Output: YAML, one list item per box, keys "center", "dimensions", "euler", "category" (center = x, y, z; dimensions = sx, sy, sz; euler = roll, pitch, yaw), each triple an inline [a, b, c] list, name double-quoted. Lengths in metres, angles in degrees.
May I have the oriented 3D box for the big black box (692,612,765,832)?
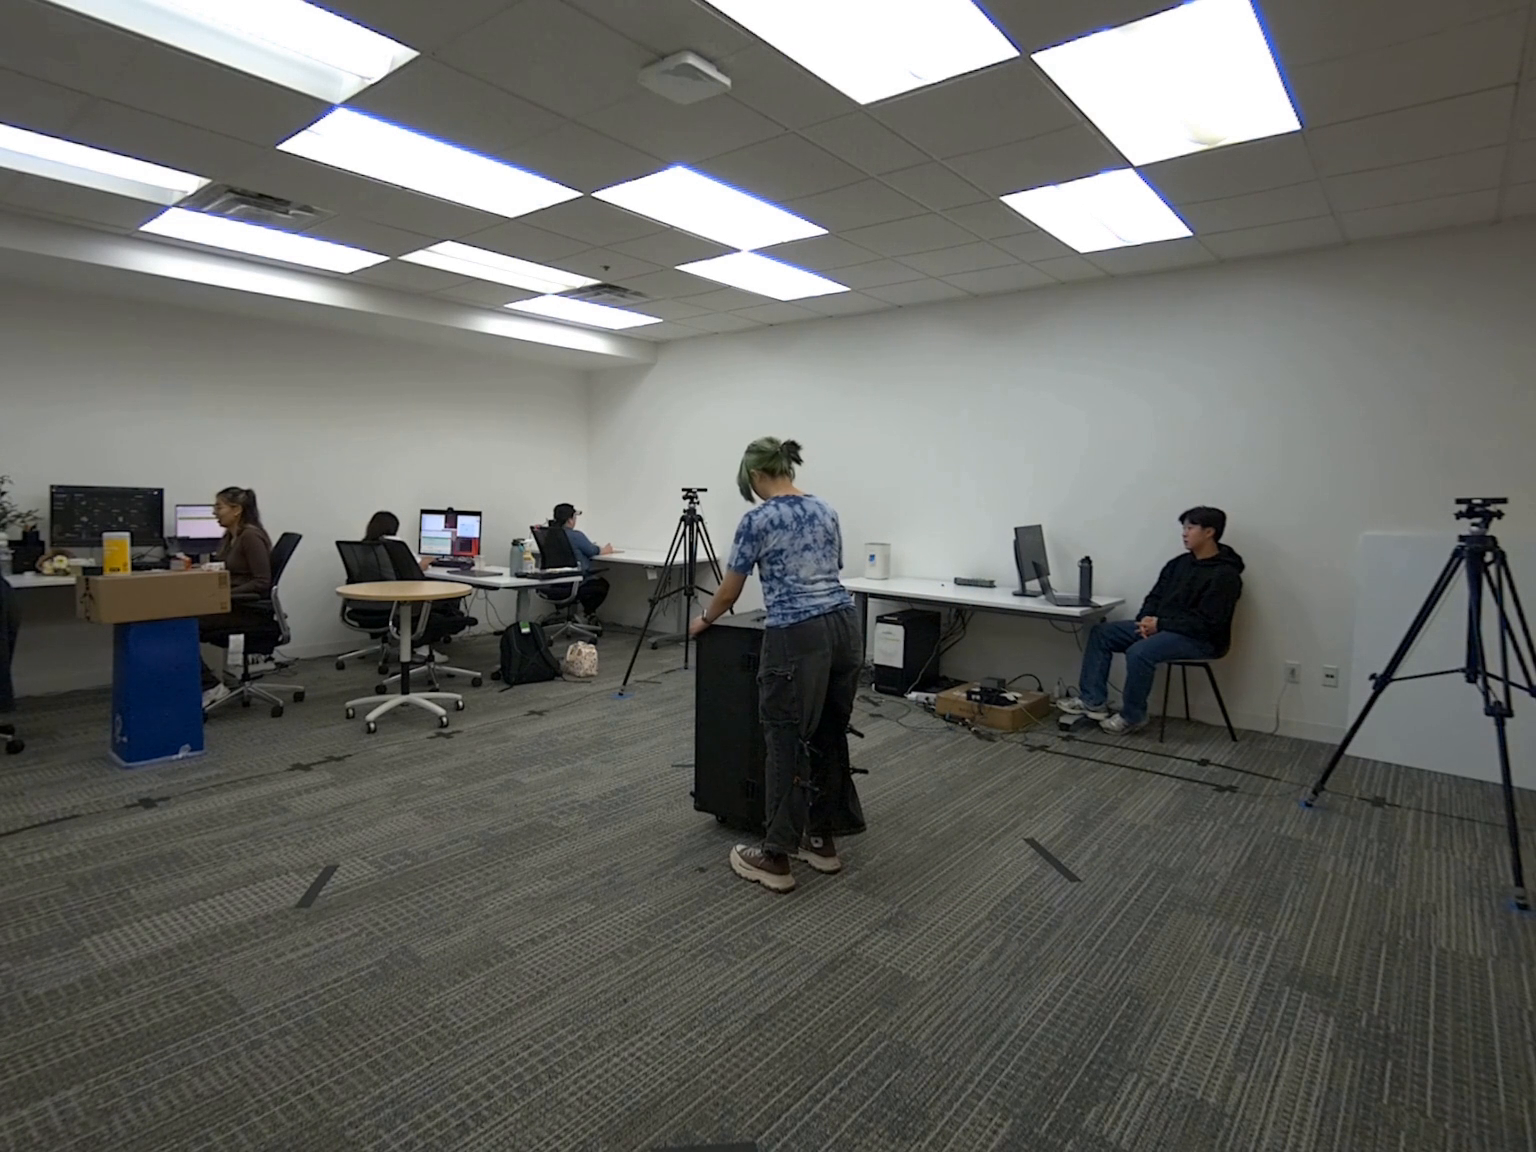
- center: [-0.054, 0.609, 3.587]
  dimensions: [0.408, 0.859, 0.508]
  euler: [2, 4, 31]
  category: "big black box"
